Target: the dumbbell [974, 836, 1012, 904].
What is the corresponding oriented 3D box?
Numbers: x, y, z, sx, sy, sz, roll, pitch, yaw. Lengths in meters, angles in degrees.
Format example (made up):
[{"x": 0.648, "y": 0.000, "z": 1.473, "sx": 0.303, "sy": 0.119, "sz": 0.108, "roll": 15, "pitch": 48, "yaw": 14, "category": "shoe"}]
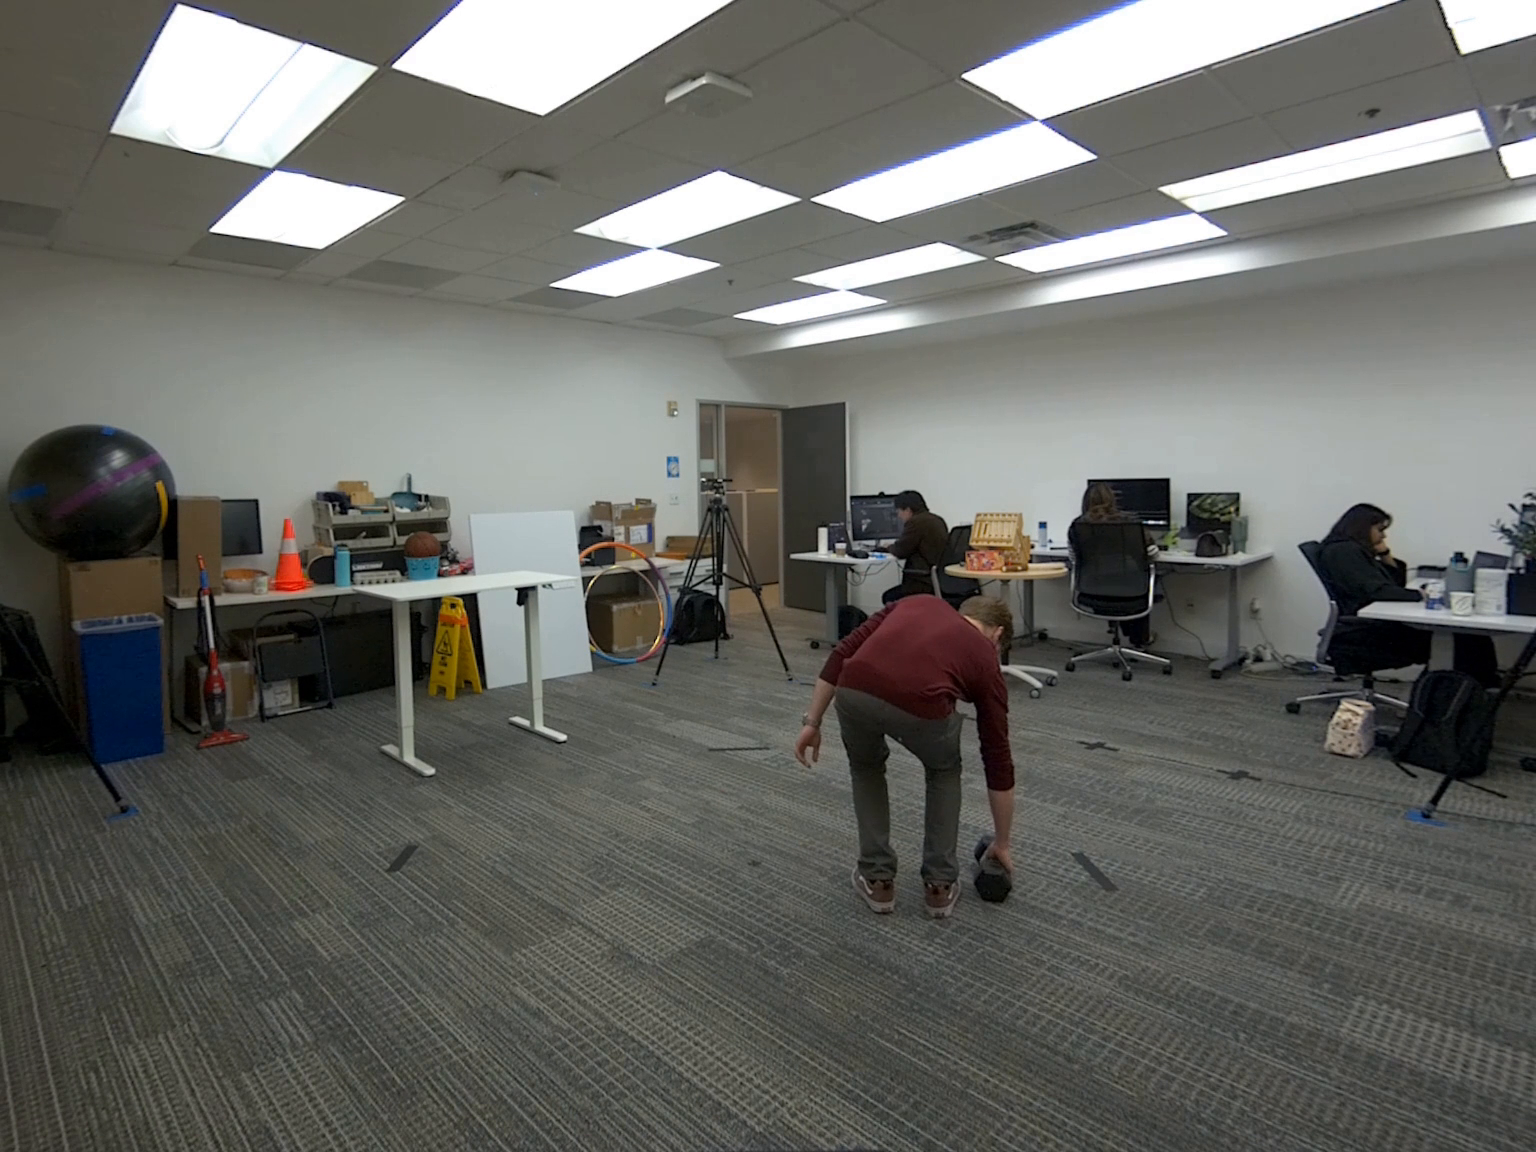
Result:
[{"x": 0.775, "y": 0.995, "z": 2.921, "sx": 0.110, "sy": 0.122, "sz": 0.291, "roll": 29, "pitch": 11, "yaw": 8, "category": "dumbbell"}]
